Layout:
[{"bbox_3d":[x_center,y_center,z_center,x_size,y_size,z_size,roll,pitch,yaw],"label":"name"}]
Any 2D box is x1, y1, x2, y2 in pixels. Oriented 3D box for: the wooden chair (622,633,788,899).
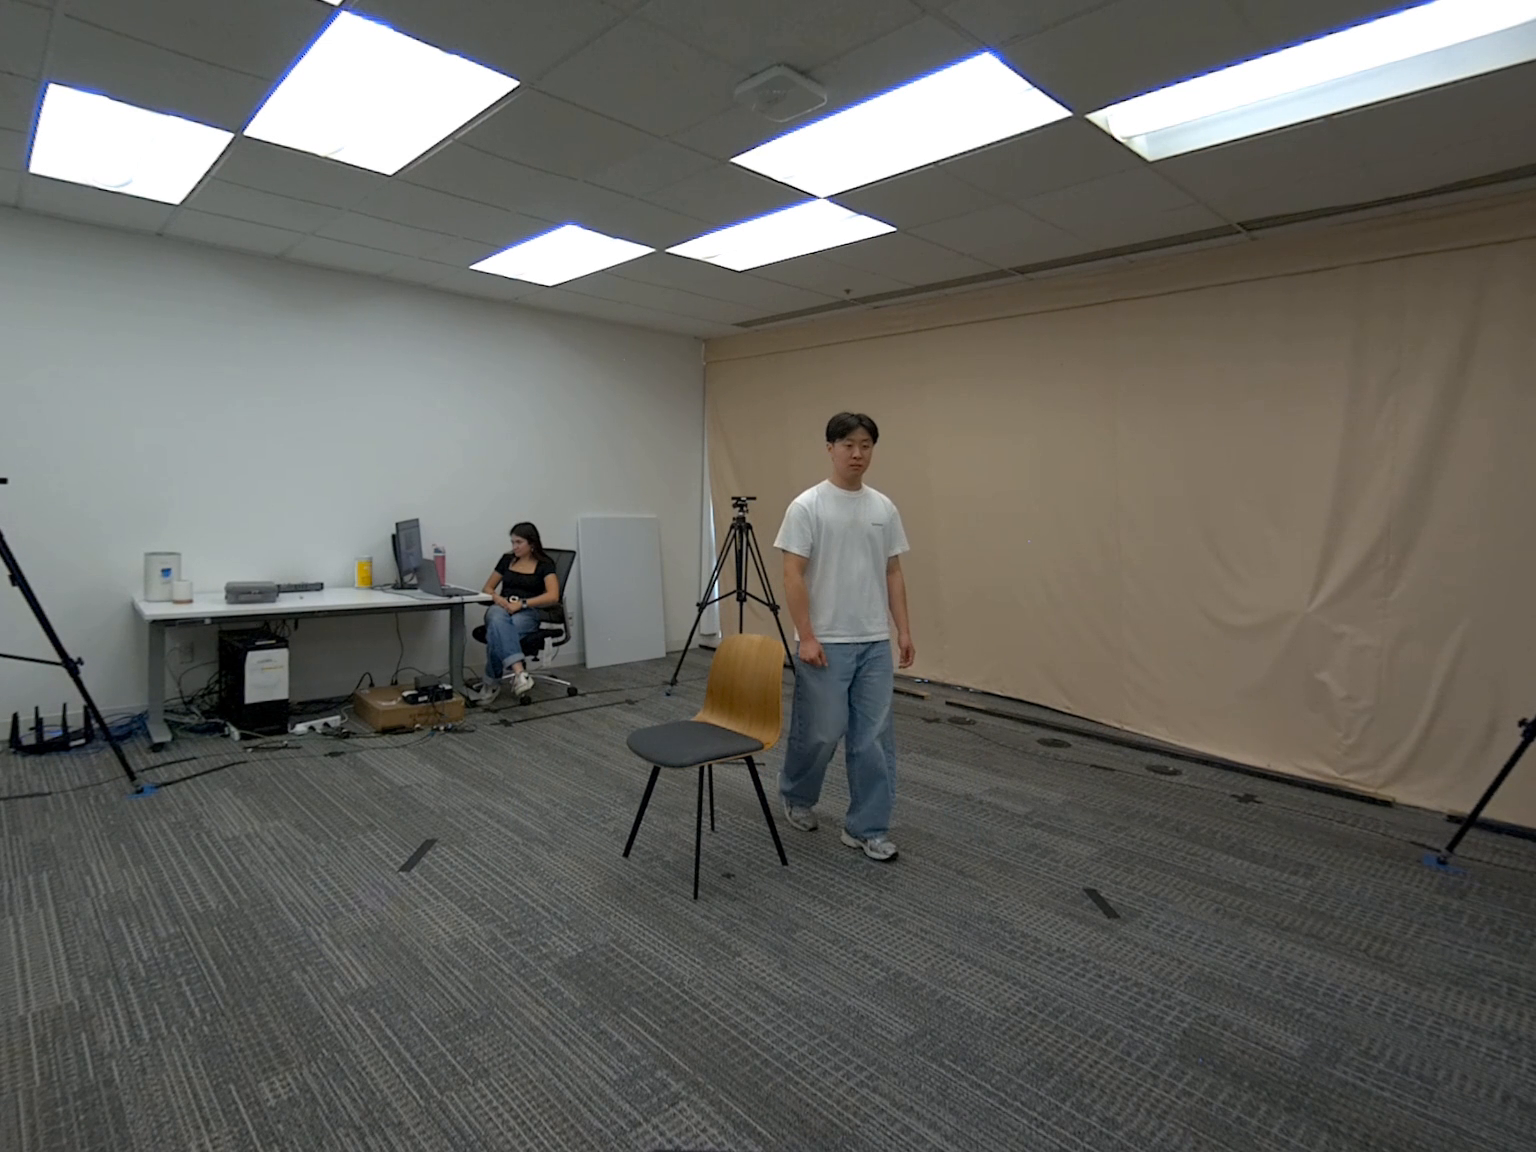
[{"bbox_3d":[-0.240,0.670,3.185,0.510,0.877,0.490,4,0,-42],"label":"wooden chair"}]
